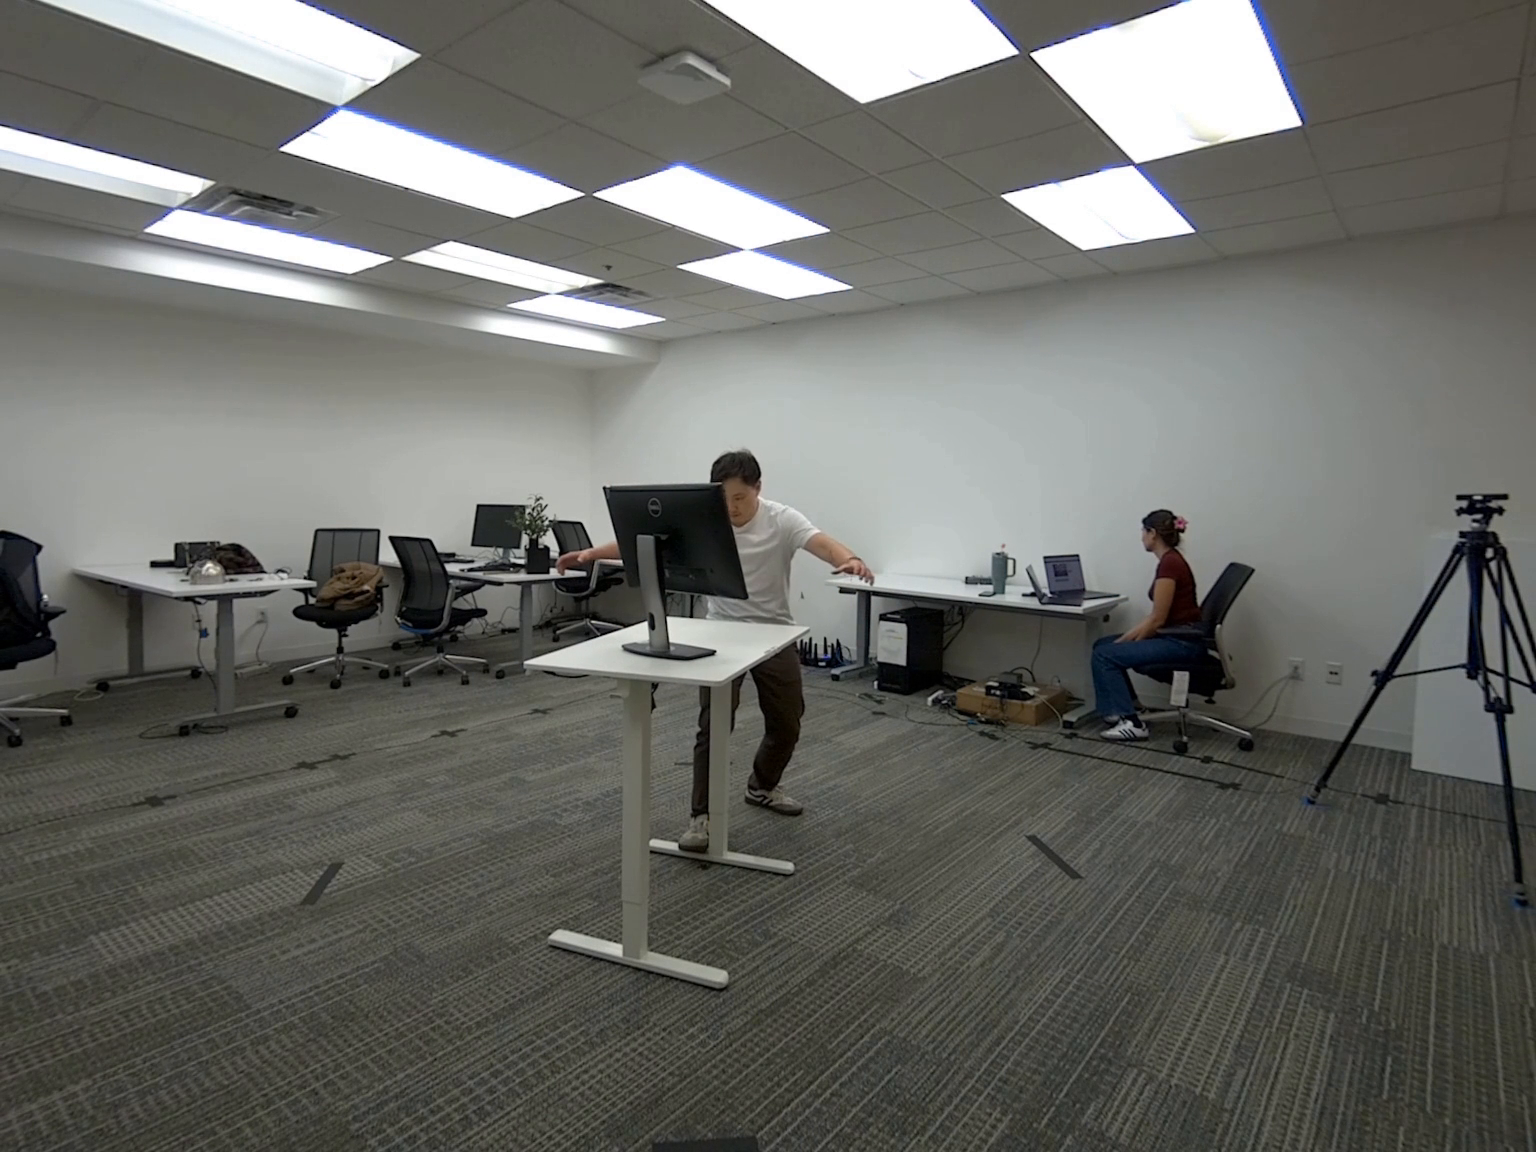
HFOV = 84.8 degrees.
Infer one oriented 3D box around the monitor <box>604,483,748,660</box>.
[{"bbox_3d":[-0.323,-0.021,2.591,0.557,0.520,0.182,3,7,40],"label":"monitor"}]
